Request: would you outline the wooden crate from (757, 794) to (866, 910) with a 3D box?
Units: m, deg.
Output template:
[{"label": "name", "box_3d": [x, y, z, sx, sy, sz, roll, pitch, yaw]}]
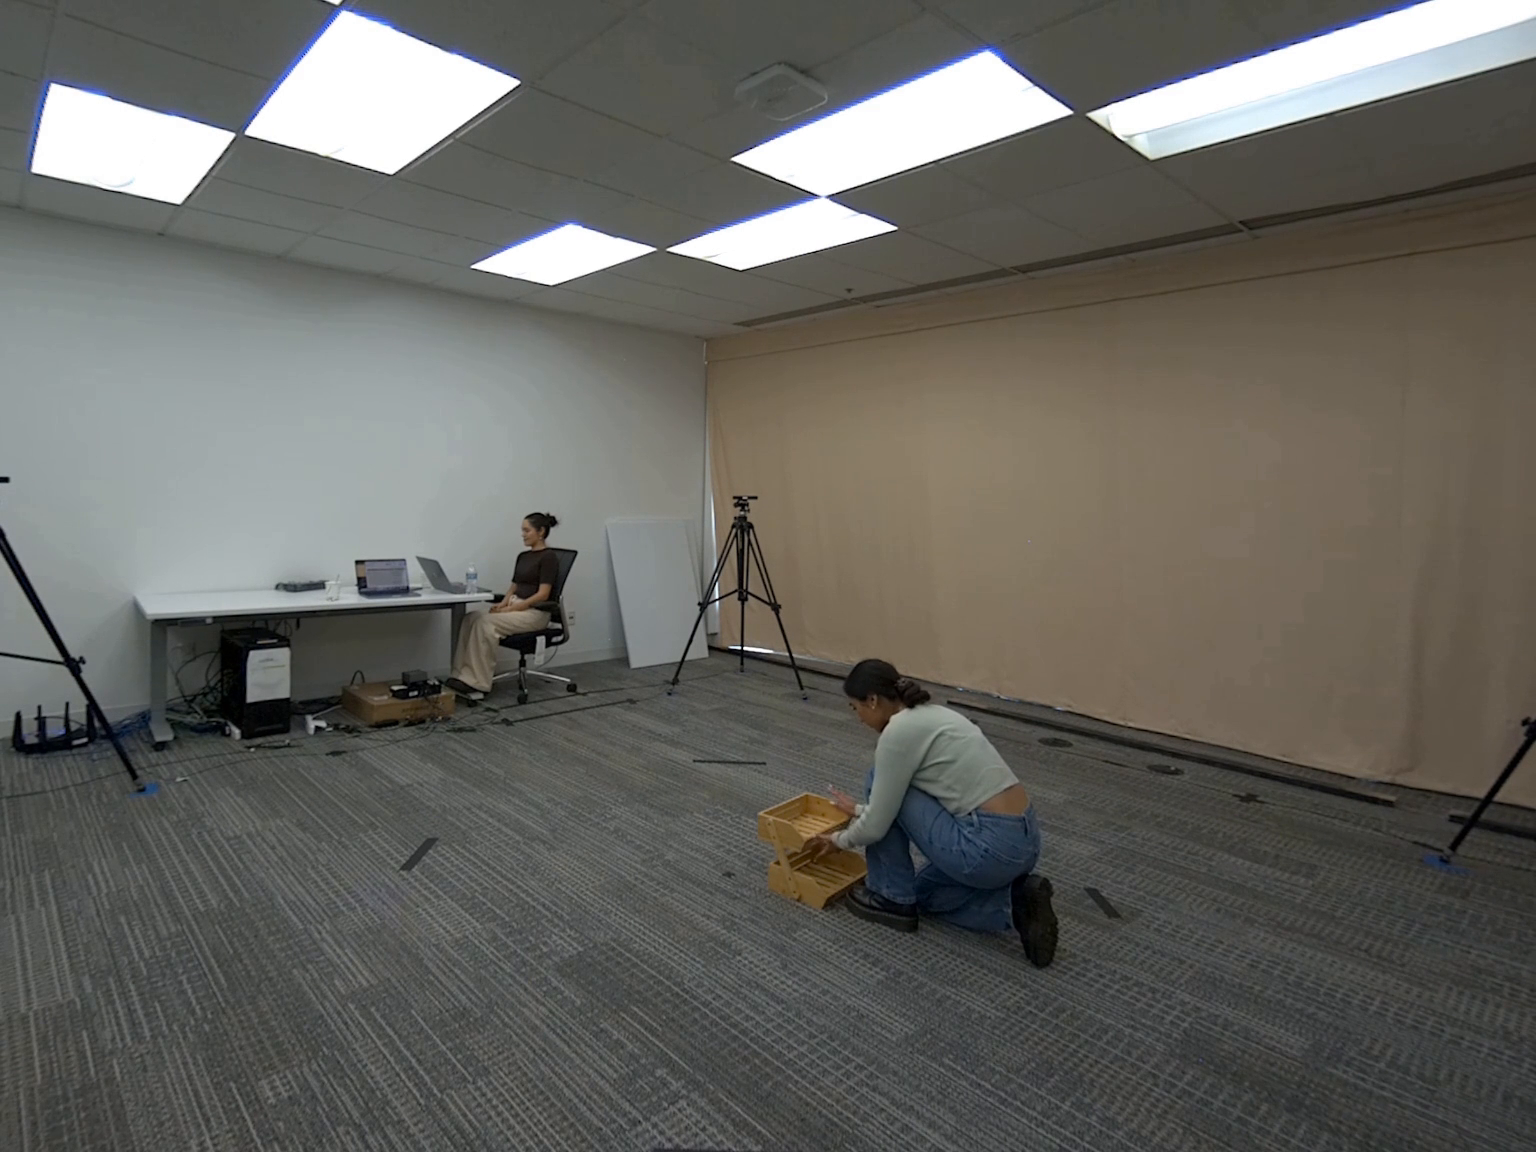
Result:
[{"label": "wooden crate", "box_3d": [0.167, 0.979, 3.043, 0.309, 0.272, 0.317, 3, 5, 39]}]
